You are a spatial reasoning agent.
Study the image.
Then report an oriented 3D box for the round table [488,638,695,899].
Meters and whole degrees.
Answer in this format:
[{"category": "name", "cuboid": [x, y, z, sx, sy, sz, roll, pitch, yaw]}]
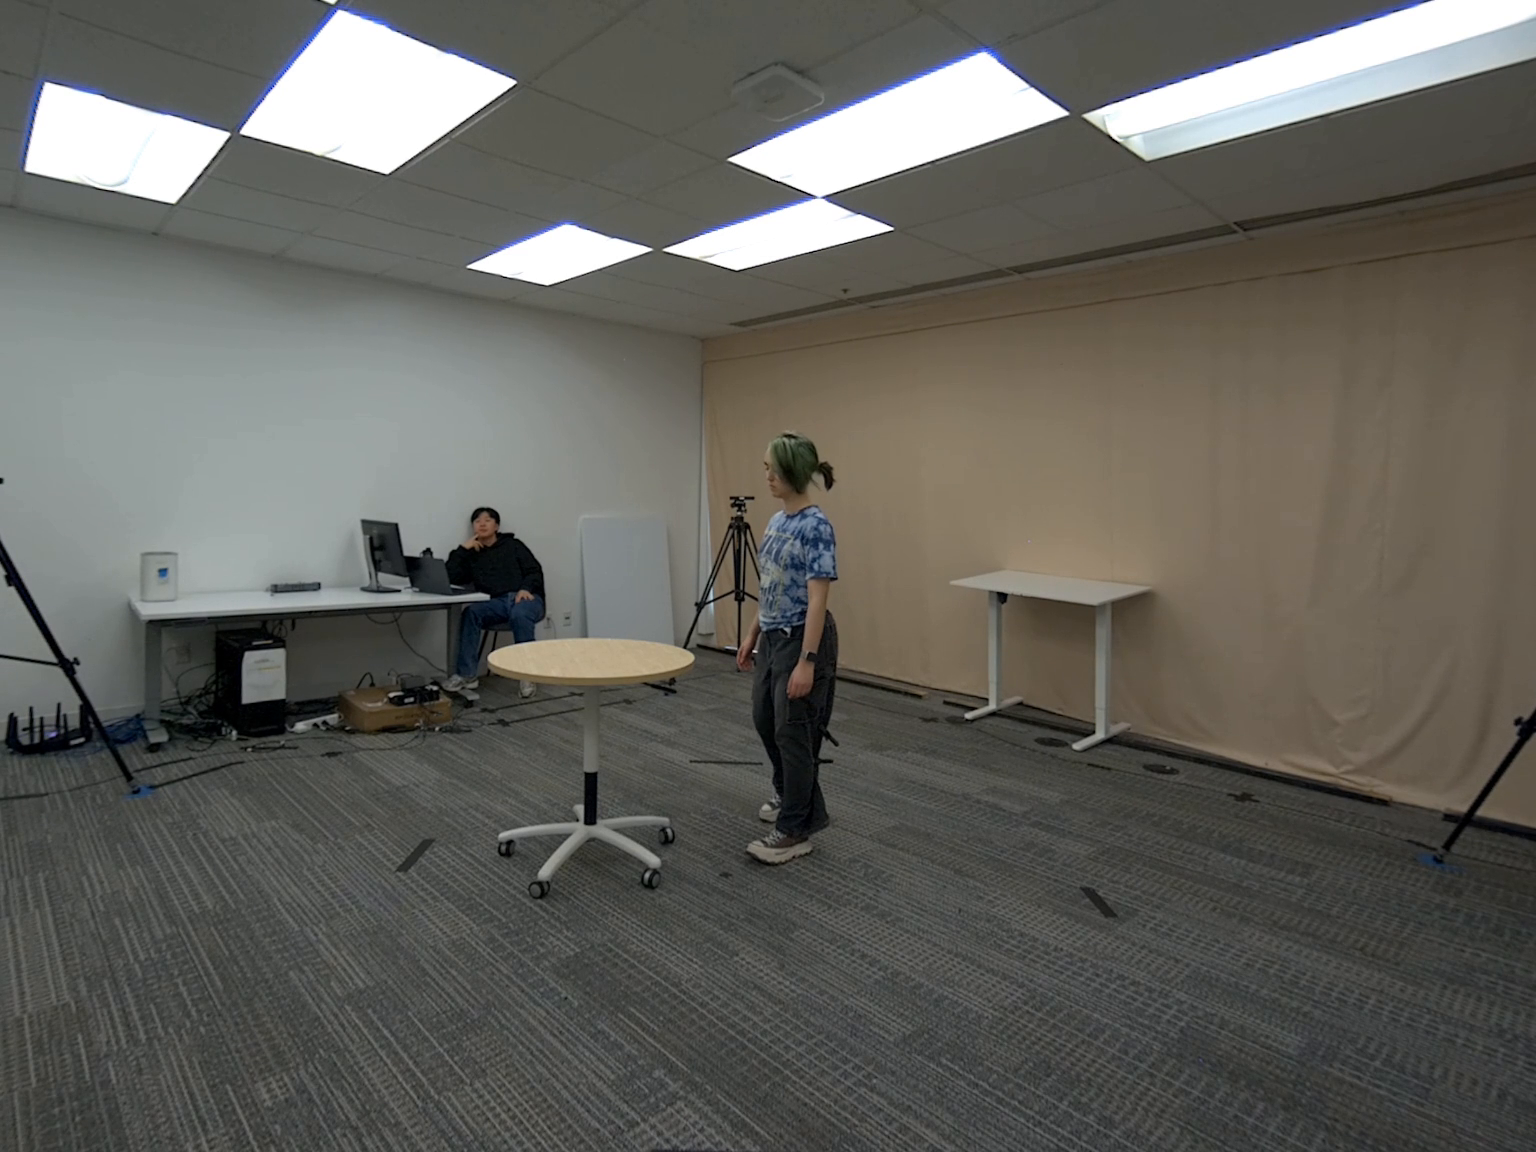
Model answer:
[{"category": "round table", "cuboid": [-0.671, 0.697, 3.187, 0.763, 0.792, 0.767, 1, 4, -1]}]
